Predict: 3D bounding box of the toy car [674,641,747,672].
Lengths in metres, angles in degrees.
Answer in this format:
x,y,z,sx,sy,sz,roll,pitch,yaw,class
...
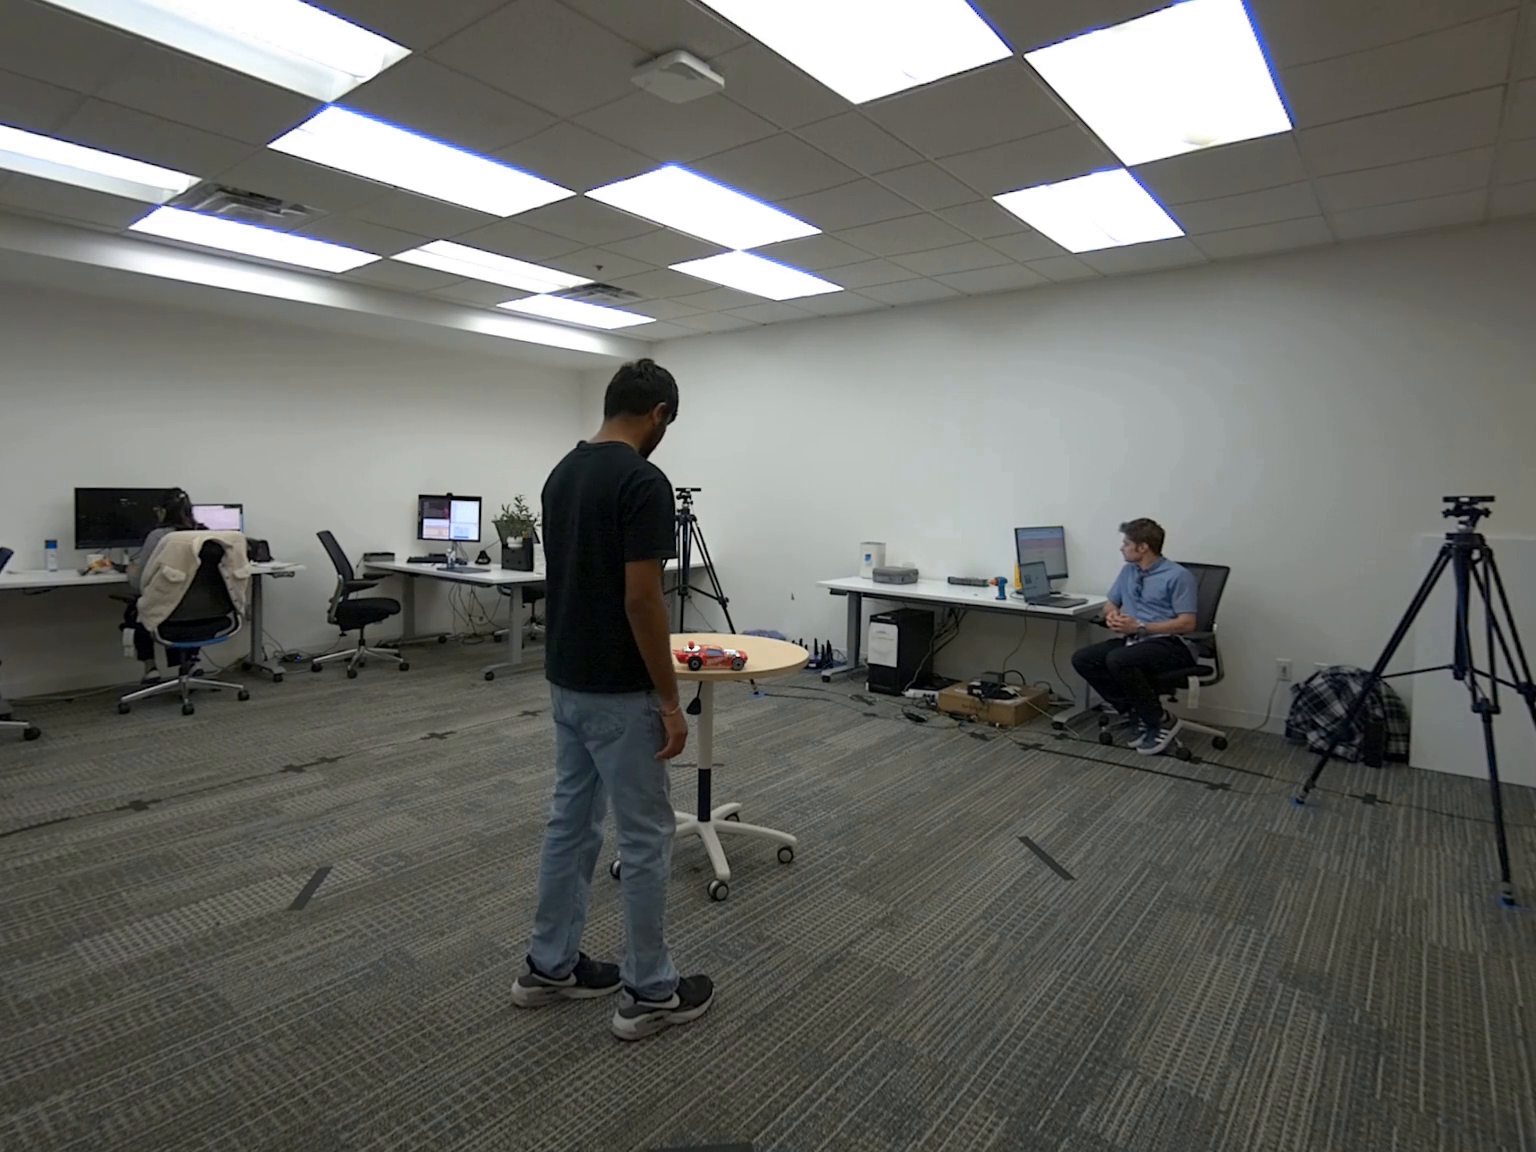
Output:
x,y,z,sx,sy,sz,roll,pitch,yaw,class
-0.208,0.278,2.886,0.253,0.083,0.131,12,3,-5,toy car
